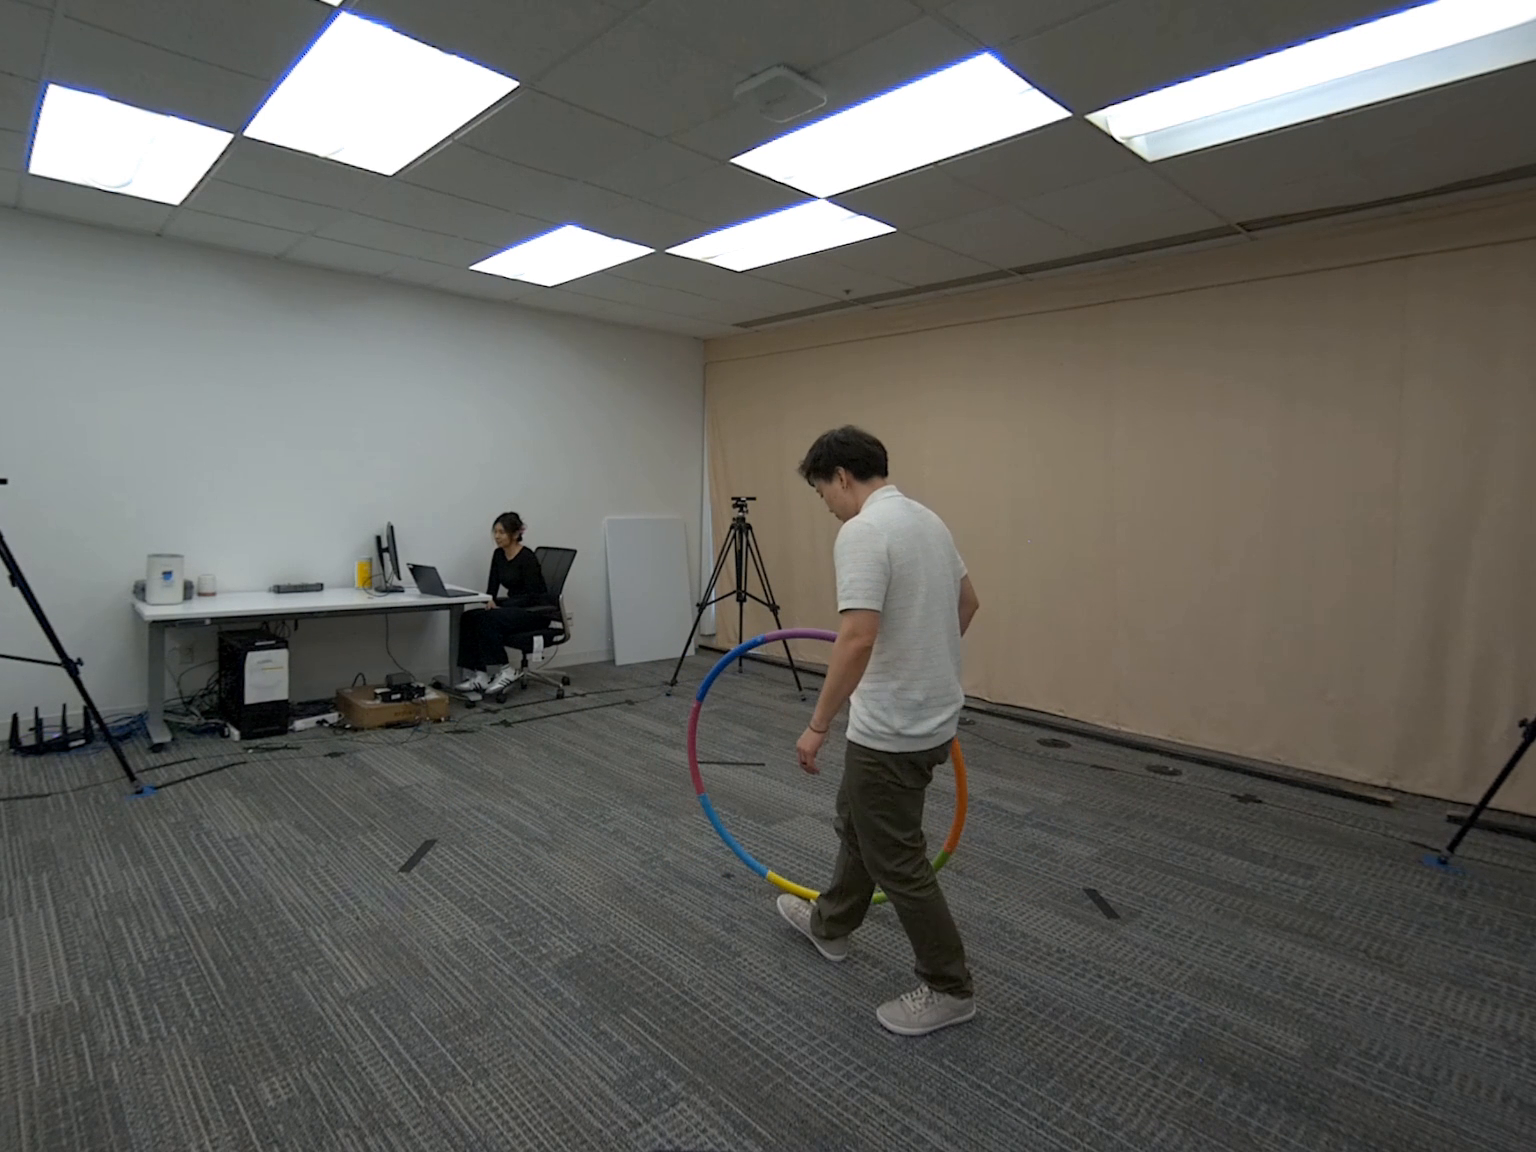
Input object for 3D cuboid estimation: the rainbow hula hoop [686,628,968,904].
[{"bbox_3d":[0.153,0.659,2.829,0.998,0.970,0.035,4,12,26],"label":"rainbow hula hoop"}]
